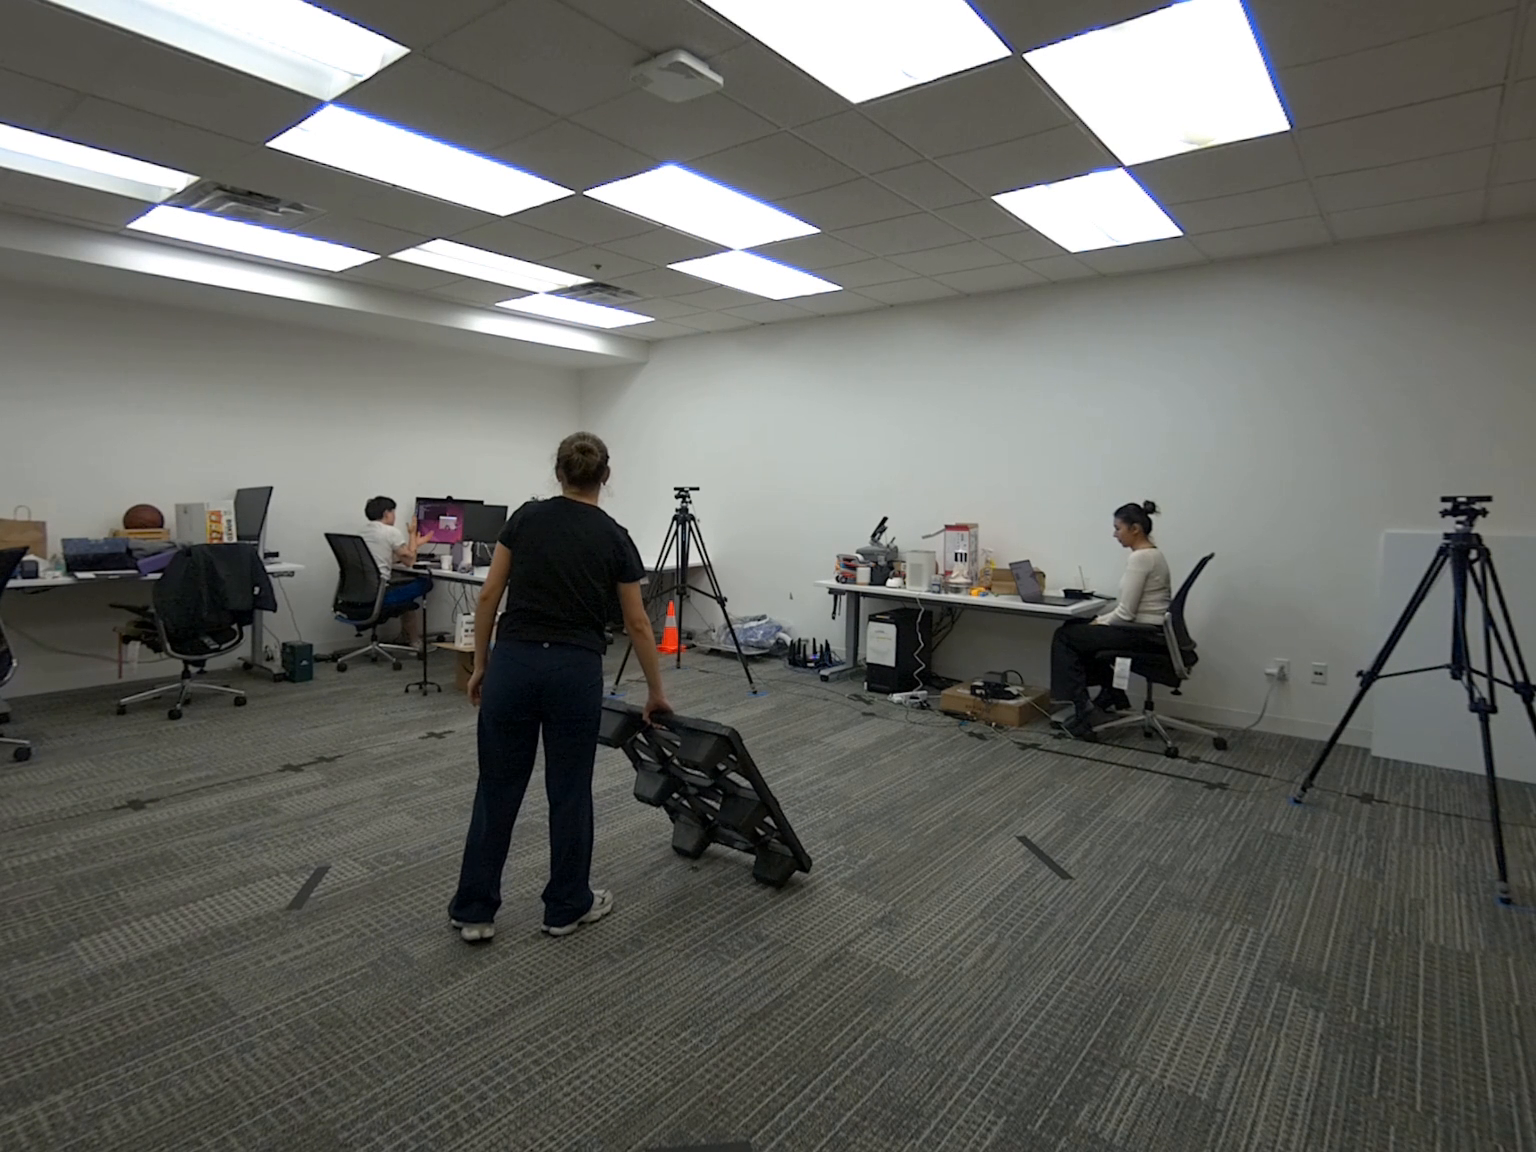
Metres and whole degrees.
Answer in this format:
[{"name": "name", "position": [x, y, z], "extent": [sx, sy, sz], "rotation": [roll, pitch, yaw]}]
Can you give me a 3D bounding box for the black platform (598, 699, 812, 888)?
[{"name": "black platform", "position": [-0.244, 0.752, 2.948], "extent": [0.624, 0.776, 0.144], "rotation": [4, 44, 36]}]
